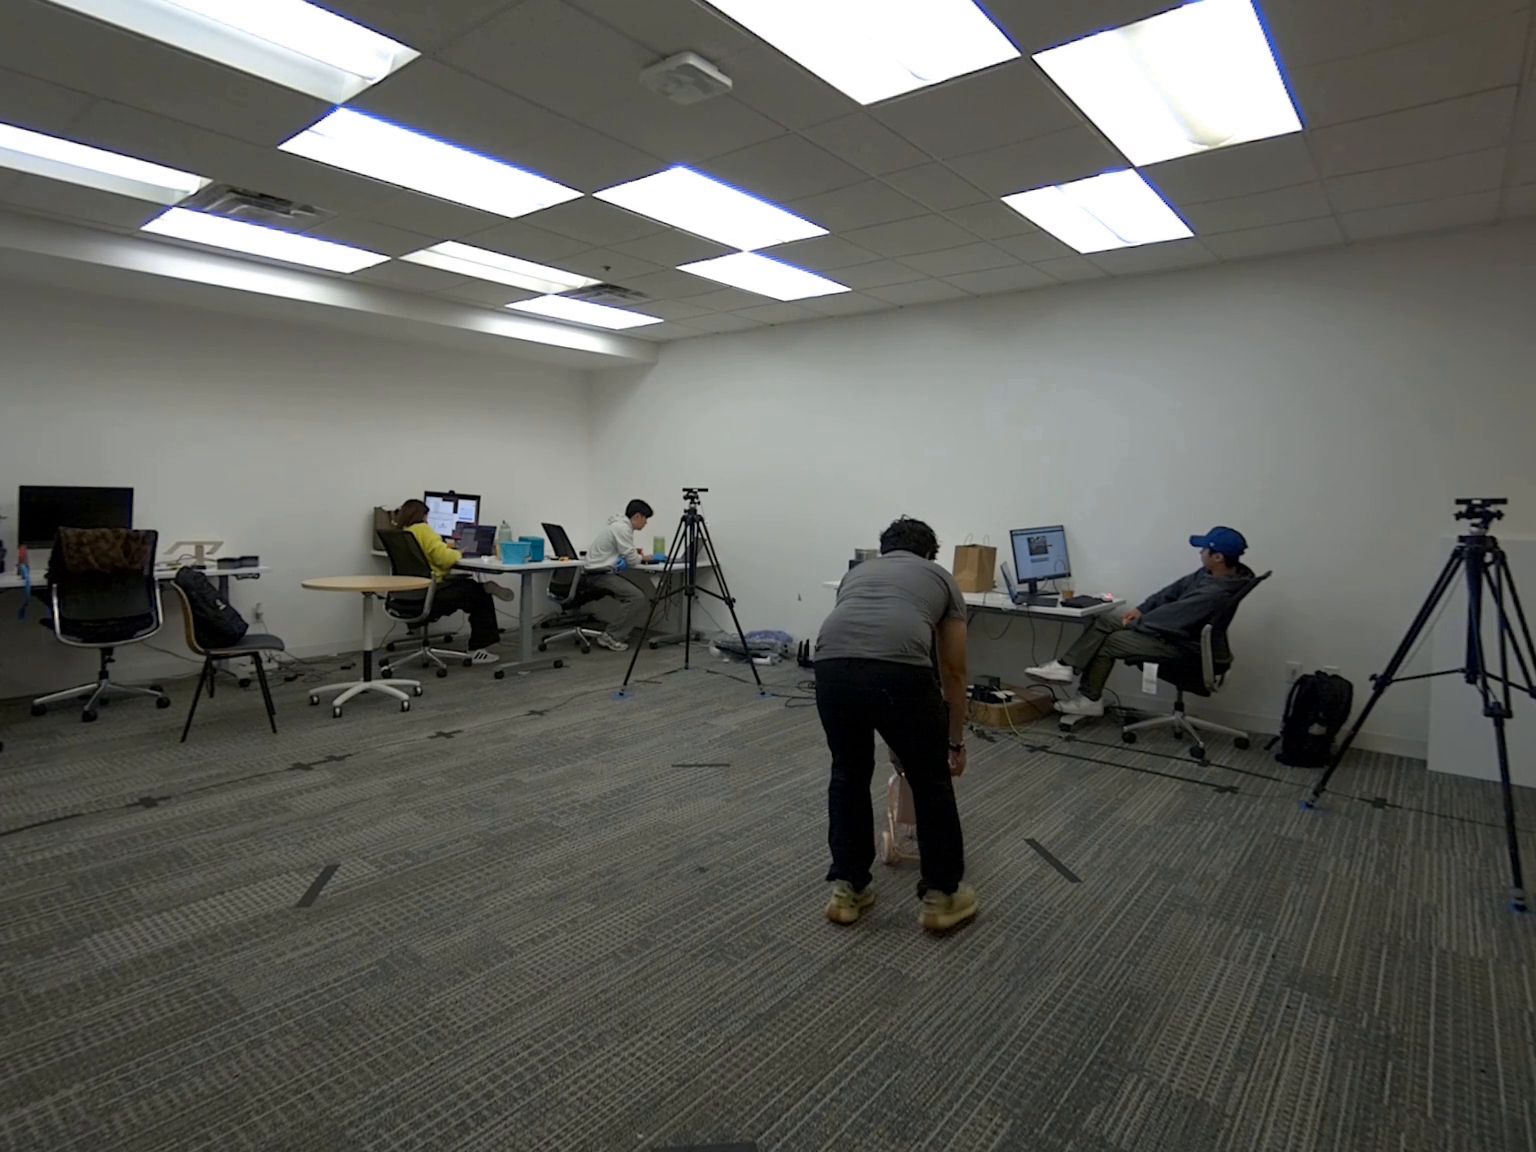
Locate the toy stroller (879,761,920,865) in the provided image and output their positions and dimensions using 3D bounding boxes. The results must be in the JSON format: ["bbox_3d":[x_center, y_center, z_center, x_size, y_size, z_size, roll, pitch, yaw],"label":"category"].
[{"bbox_3d":[0.572,0.848,3.251,0.284,0.525,0.345,3,20,6],"label":"toy stroller"}]
